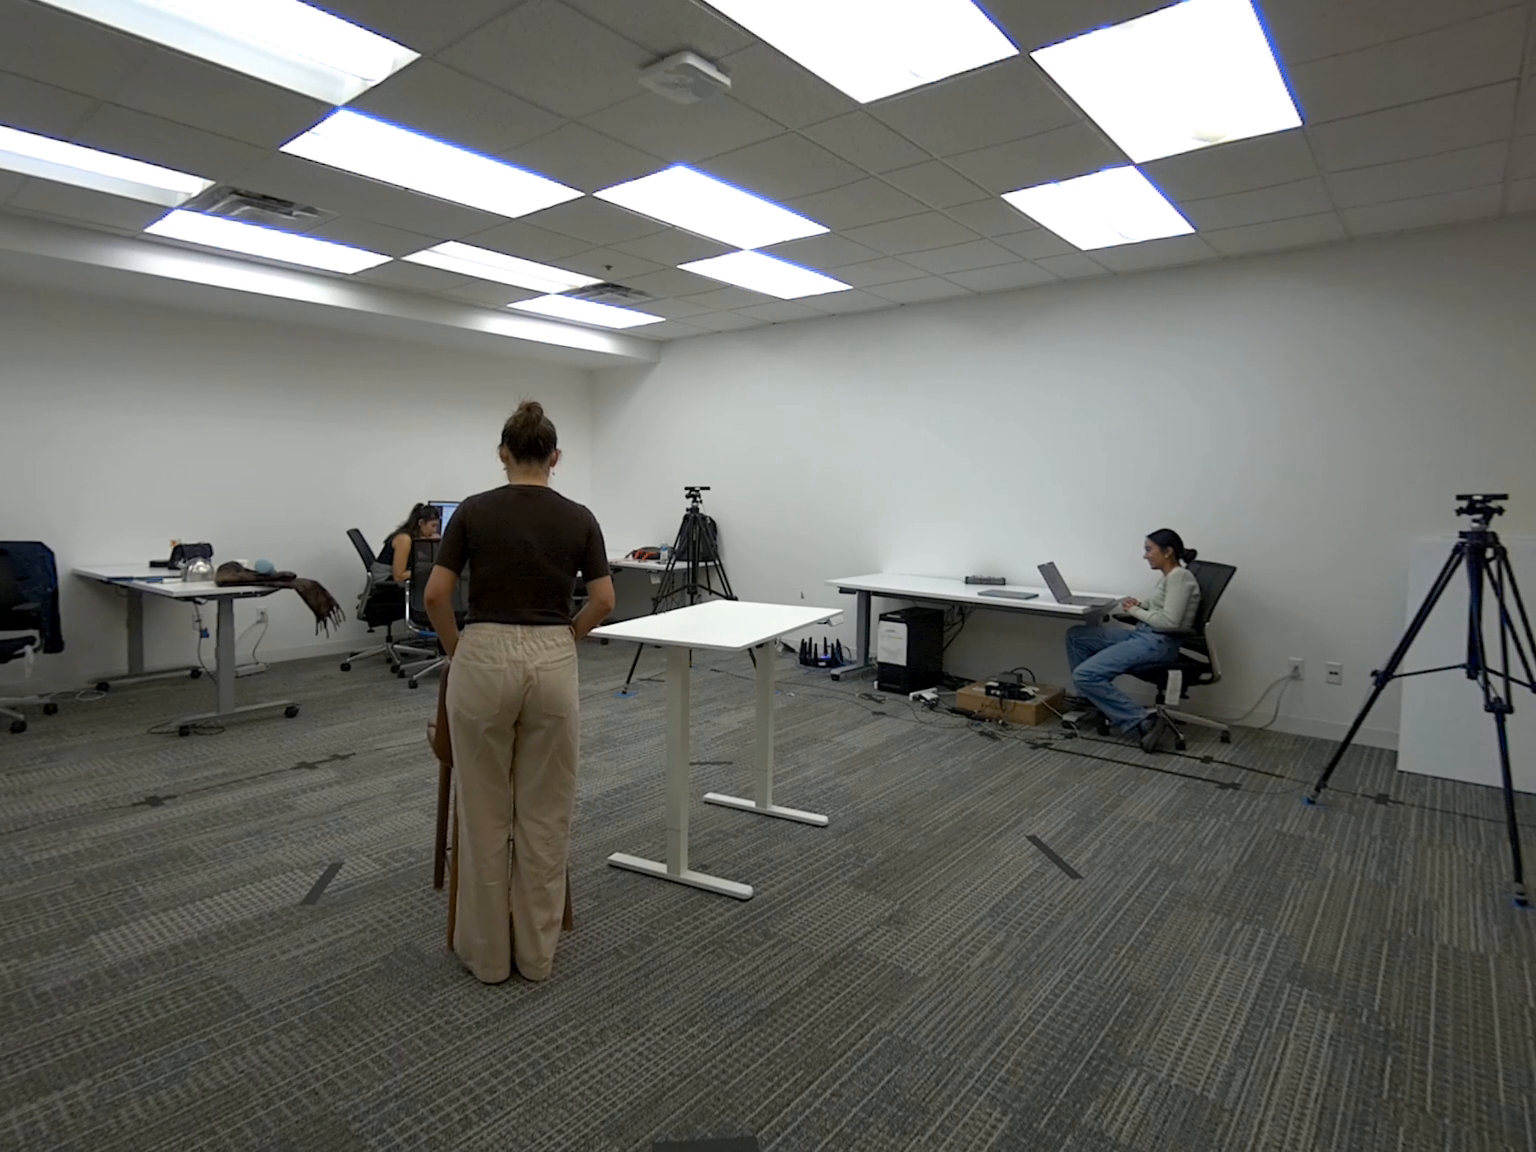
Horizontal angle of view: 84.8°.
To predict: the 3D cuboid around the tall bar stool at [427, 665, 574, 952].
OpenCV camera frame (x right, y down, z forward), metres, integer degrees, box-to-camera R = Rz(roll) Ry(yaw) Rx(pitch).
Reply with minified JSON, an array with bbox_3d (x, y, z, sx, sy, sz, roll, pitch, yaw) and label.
[{"bbox_3d":[-0.880,0.654,2.773,0.447,0.885,0.480,-1,6,-22],"label":"tall bar stool"}]
